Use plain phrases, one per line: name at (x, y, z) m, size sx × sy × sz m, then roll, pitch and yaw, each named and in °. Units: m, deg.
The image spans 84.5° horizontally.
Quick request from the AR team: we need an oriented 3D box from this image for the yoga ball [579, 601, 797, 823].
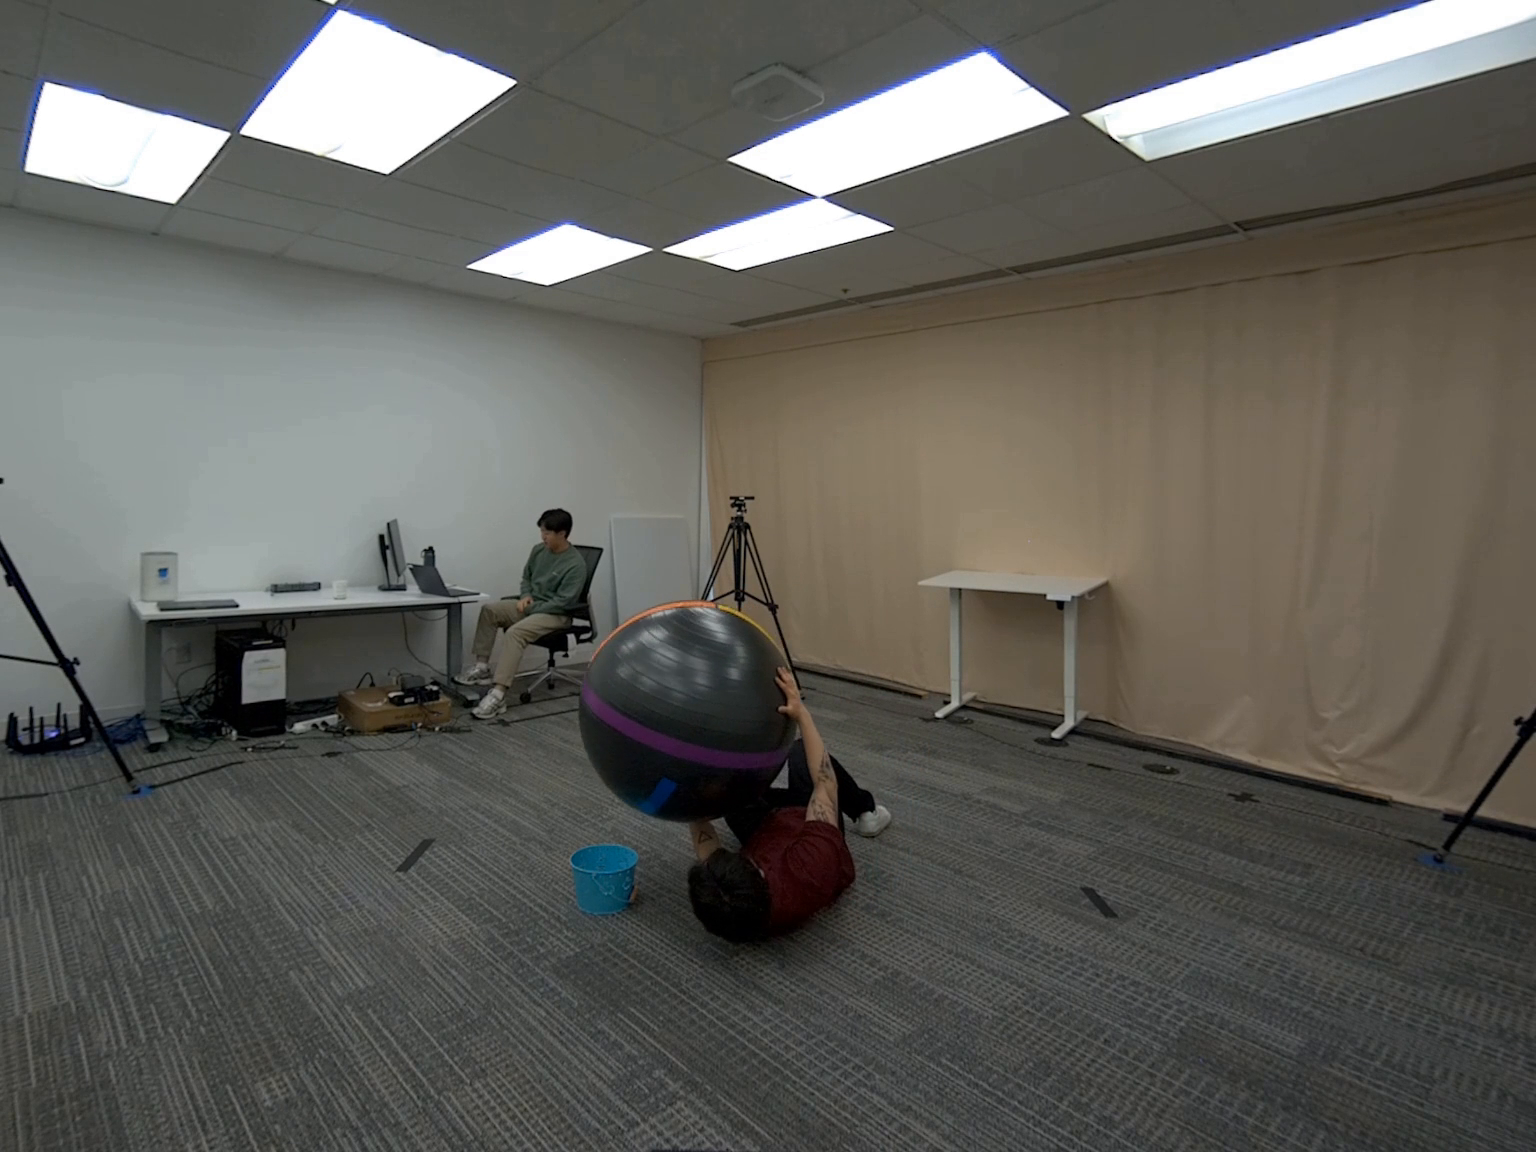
yoga ball at (-0.281, 0.466, 2.951) m, size 0.757 × 0.756 × 0.761 m, roll 1°, pitch 4°, yaw -1°
